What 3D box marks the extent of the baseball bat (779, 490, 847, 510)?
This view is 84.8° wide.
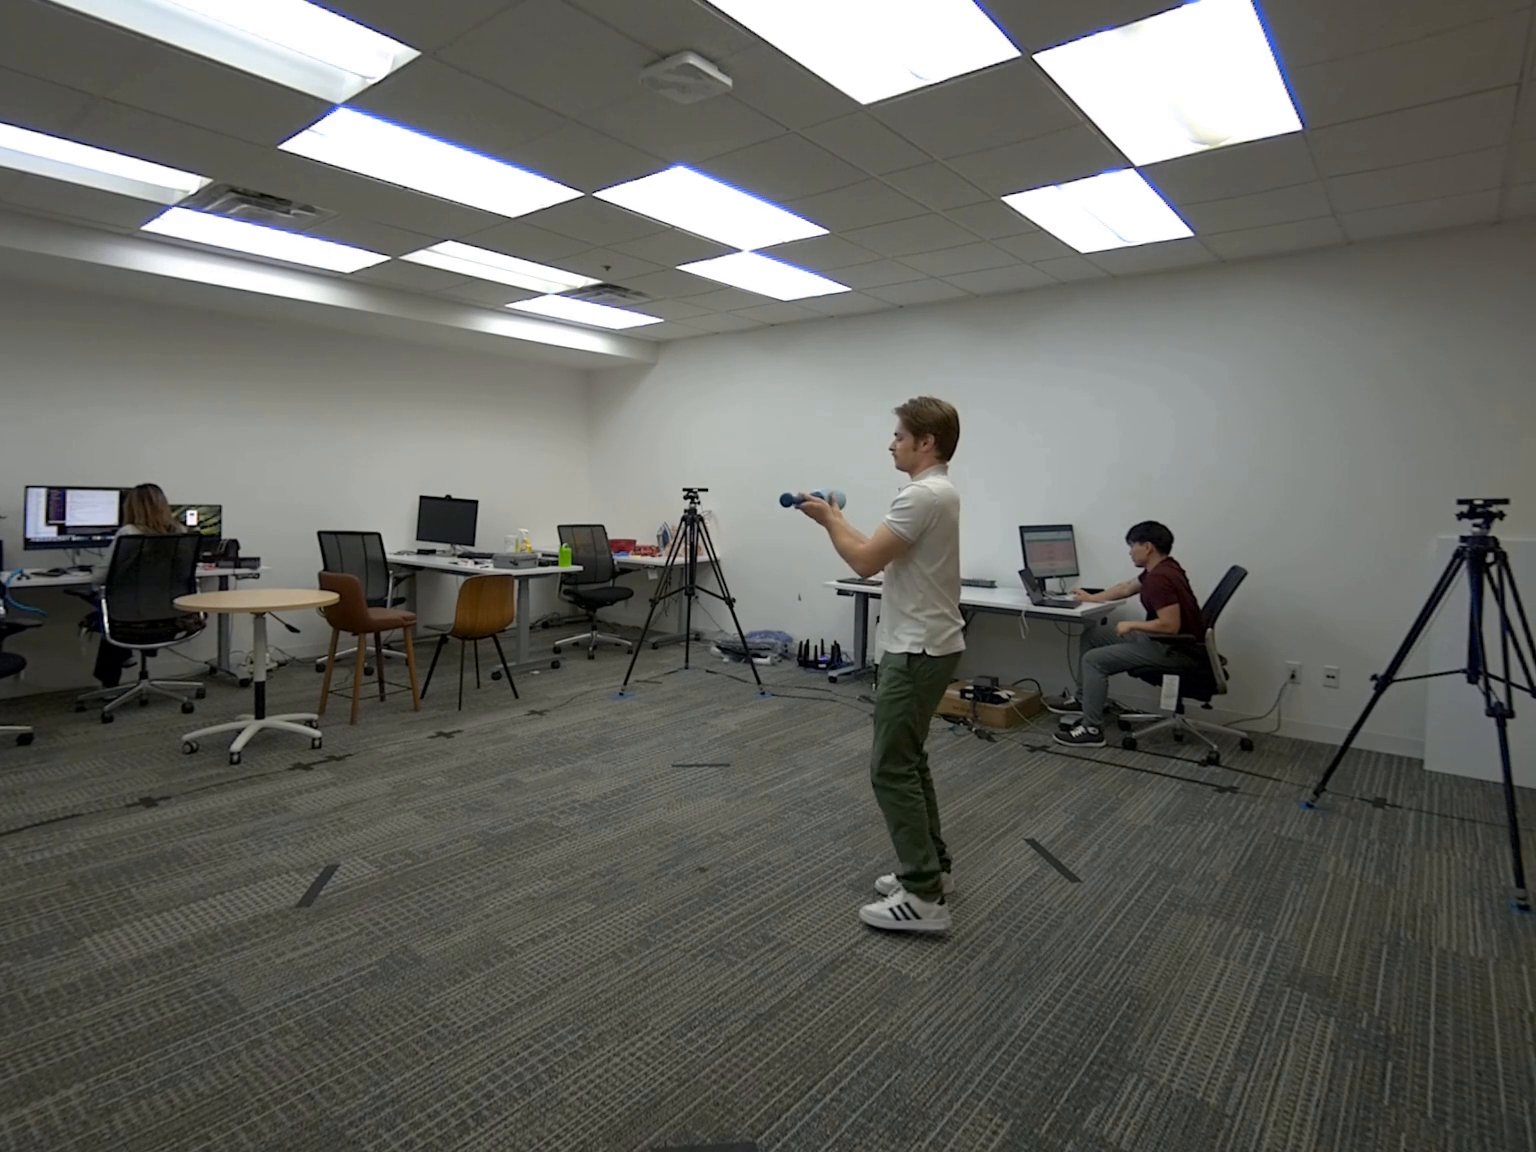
[{"bbox_3d":[0.163,-0.278,3.084,0.091,0.089,0.532,3,6,23],"label":"baseball bat"}]
